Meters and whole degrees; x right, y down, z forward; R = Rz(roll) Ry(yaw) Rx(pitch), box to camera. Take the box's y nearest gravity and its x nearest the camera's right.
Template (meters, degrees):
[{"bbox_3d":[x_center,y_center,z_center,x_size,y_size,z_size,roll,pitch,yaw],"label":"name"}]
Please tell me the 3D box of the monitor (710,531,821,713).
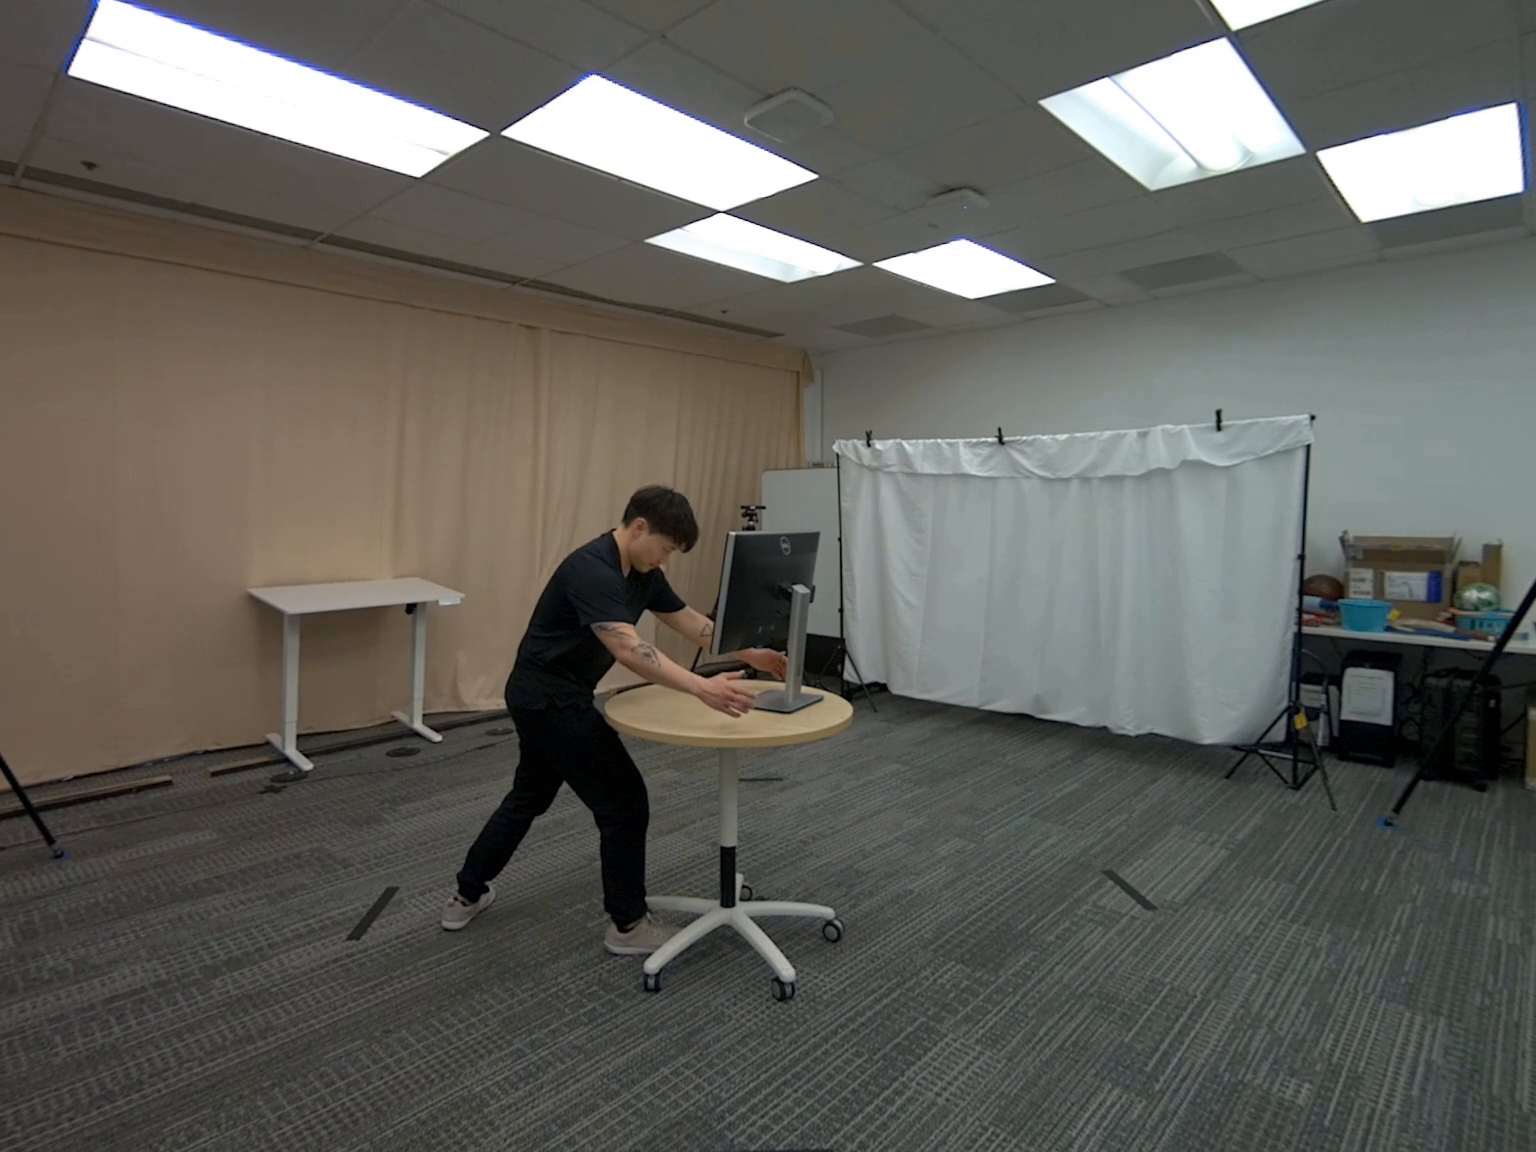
[{"bbox_3d":[0.039,0.136,2.616,0.192,0.522,0.525,-1,2,29],"label":"monitor"}]
